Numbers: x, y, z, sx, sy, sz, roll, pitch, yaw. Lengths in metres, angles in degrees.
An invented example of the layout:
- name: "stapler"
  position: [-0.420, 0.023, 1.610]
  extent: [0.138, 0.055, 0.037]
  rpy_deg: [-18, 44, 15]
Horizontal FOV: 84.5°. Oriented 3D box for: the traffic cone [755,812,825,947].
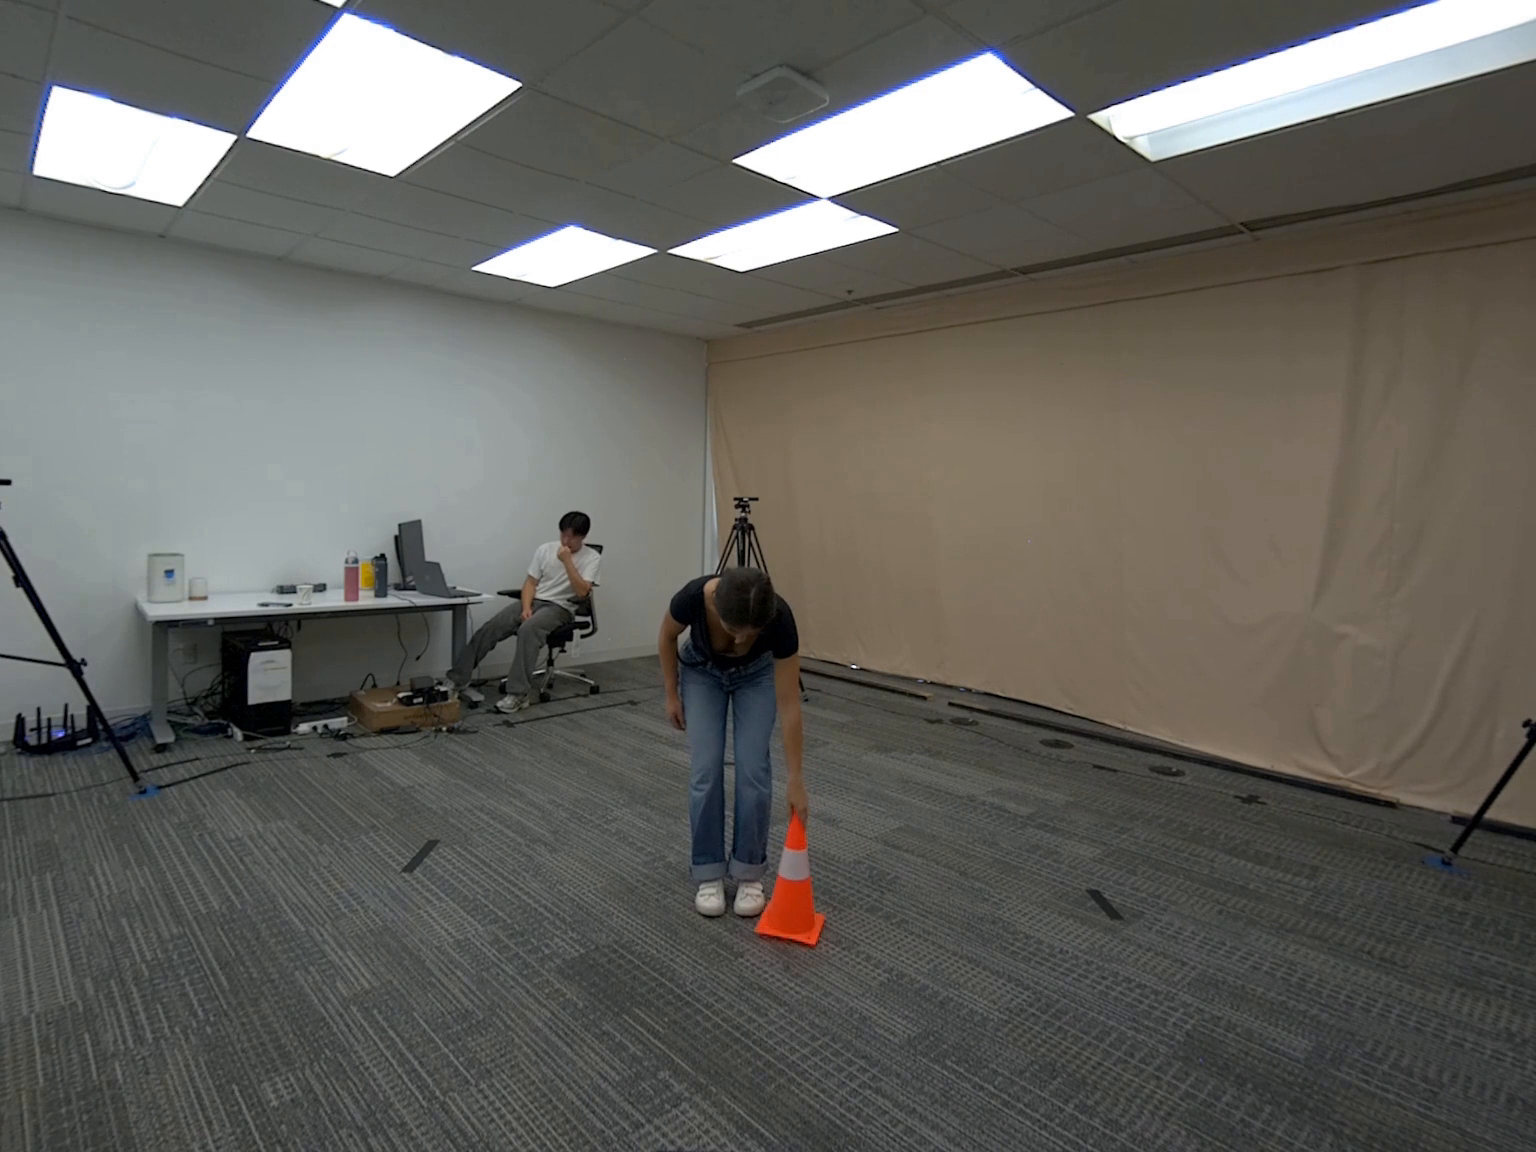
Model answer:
- name: "traffic cone"
  position: [0.074, 0.942, 2.707]
  extent: [0.207, 0.383, 0.201]
  rpy_deg: [3, 2, 12]
